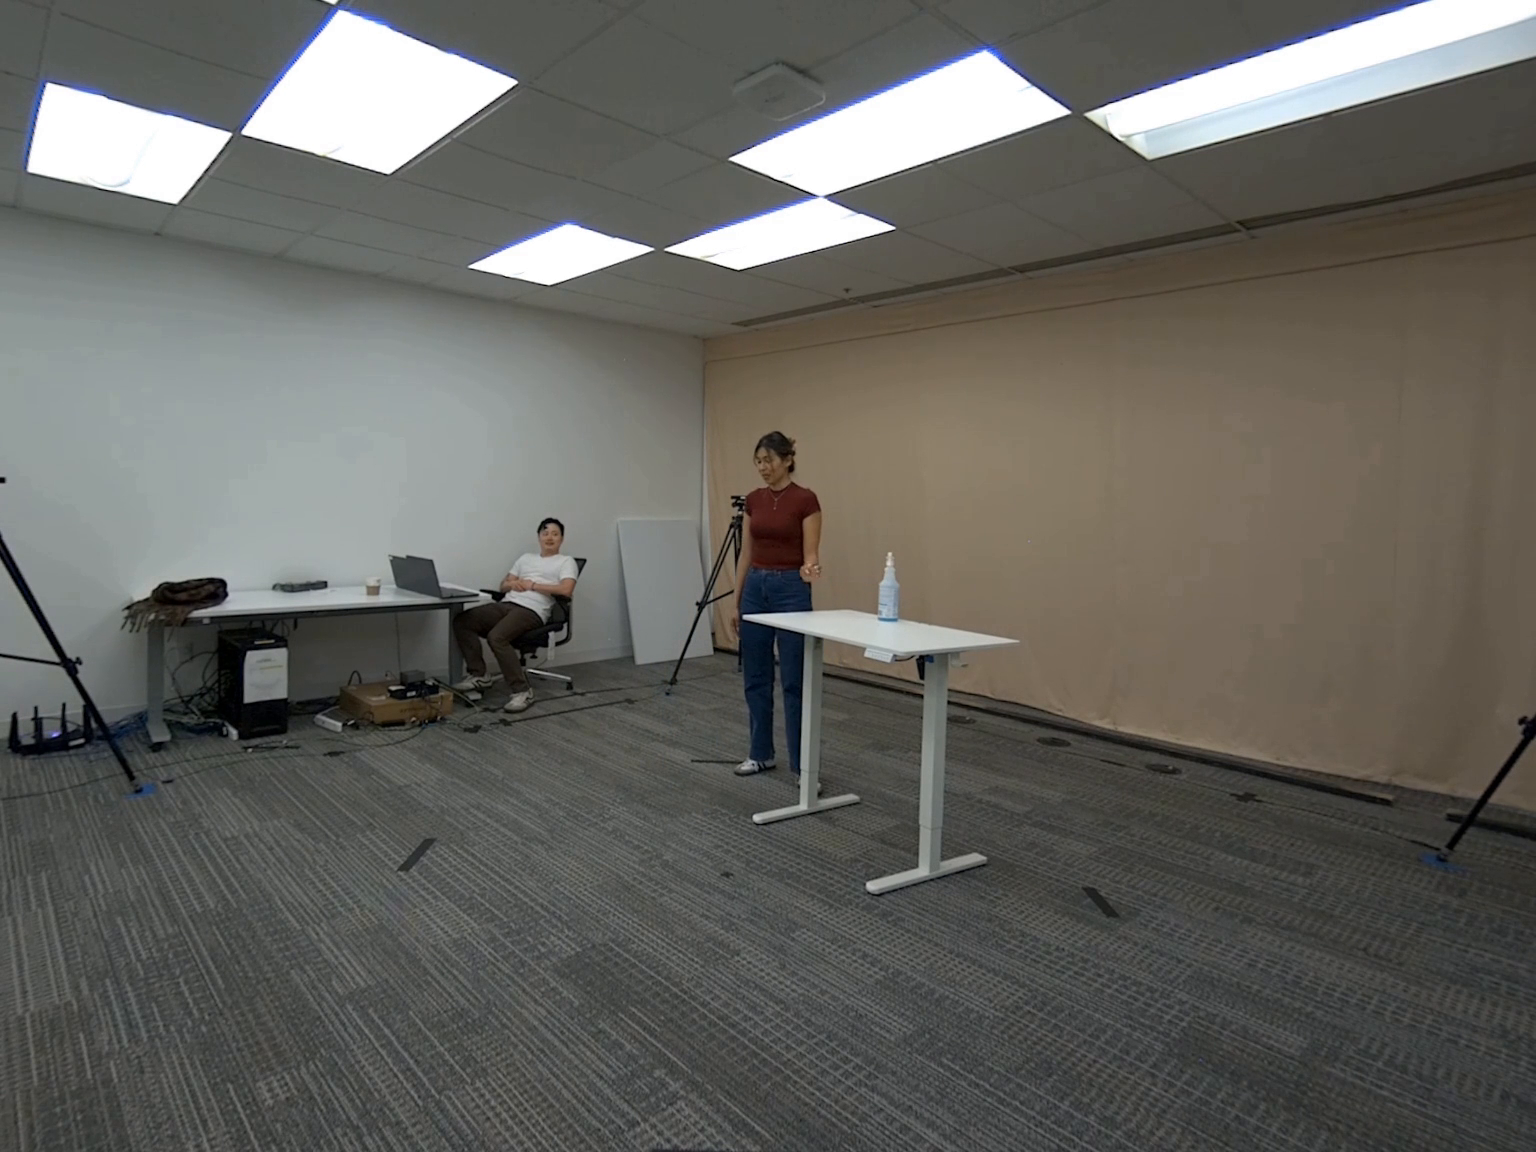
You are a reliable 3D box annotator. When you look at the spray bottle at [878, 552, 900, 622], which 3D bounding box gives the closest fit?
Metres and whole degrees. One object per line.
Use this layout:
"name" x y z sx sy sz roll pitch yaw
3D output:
"spray bottle" 0.519 0.049 3.635 0.089 0.296 0.088 2 4 37
